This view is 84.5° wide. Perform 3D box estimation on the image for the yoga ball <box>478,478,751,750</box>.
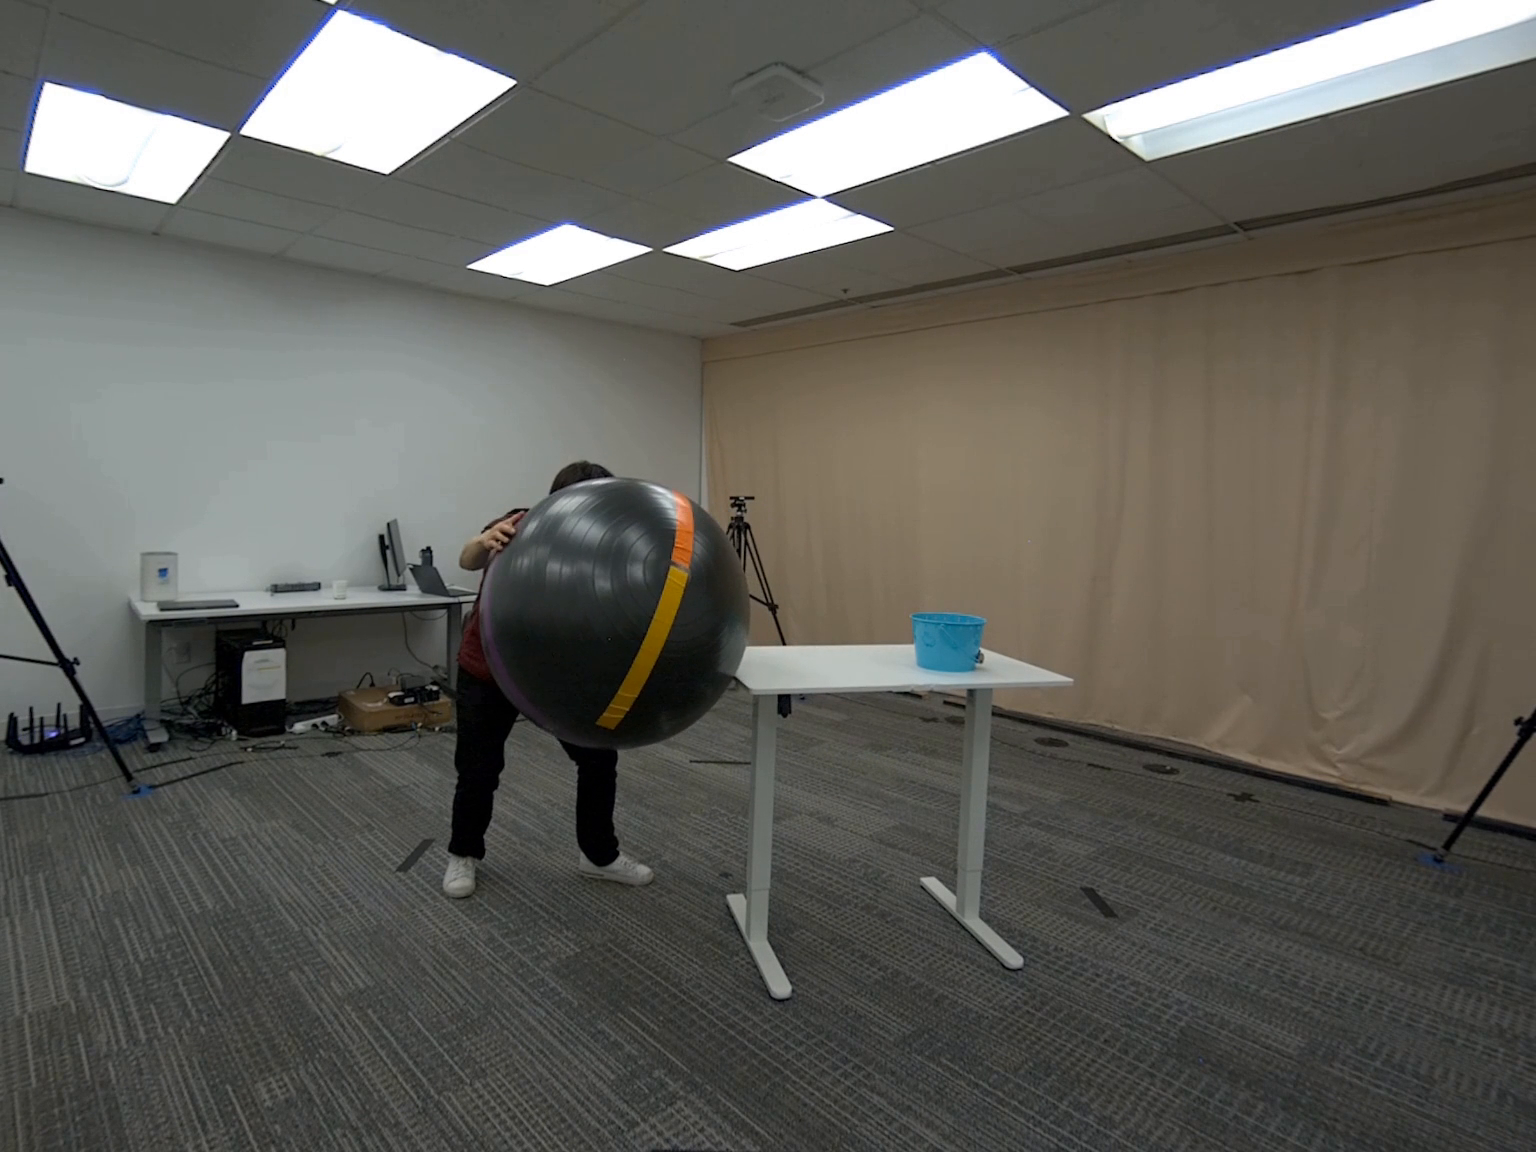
[{"bbox_3d":[-0.431,0.106,2.376,0.757,0.756,0.760,1,4,-1],"label":"yoga ball"}]
